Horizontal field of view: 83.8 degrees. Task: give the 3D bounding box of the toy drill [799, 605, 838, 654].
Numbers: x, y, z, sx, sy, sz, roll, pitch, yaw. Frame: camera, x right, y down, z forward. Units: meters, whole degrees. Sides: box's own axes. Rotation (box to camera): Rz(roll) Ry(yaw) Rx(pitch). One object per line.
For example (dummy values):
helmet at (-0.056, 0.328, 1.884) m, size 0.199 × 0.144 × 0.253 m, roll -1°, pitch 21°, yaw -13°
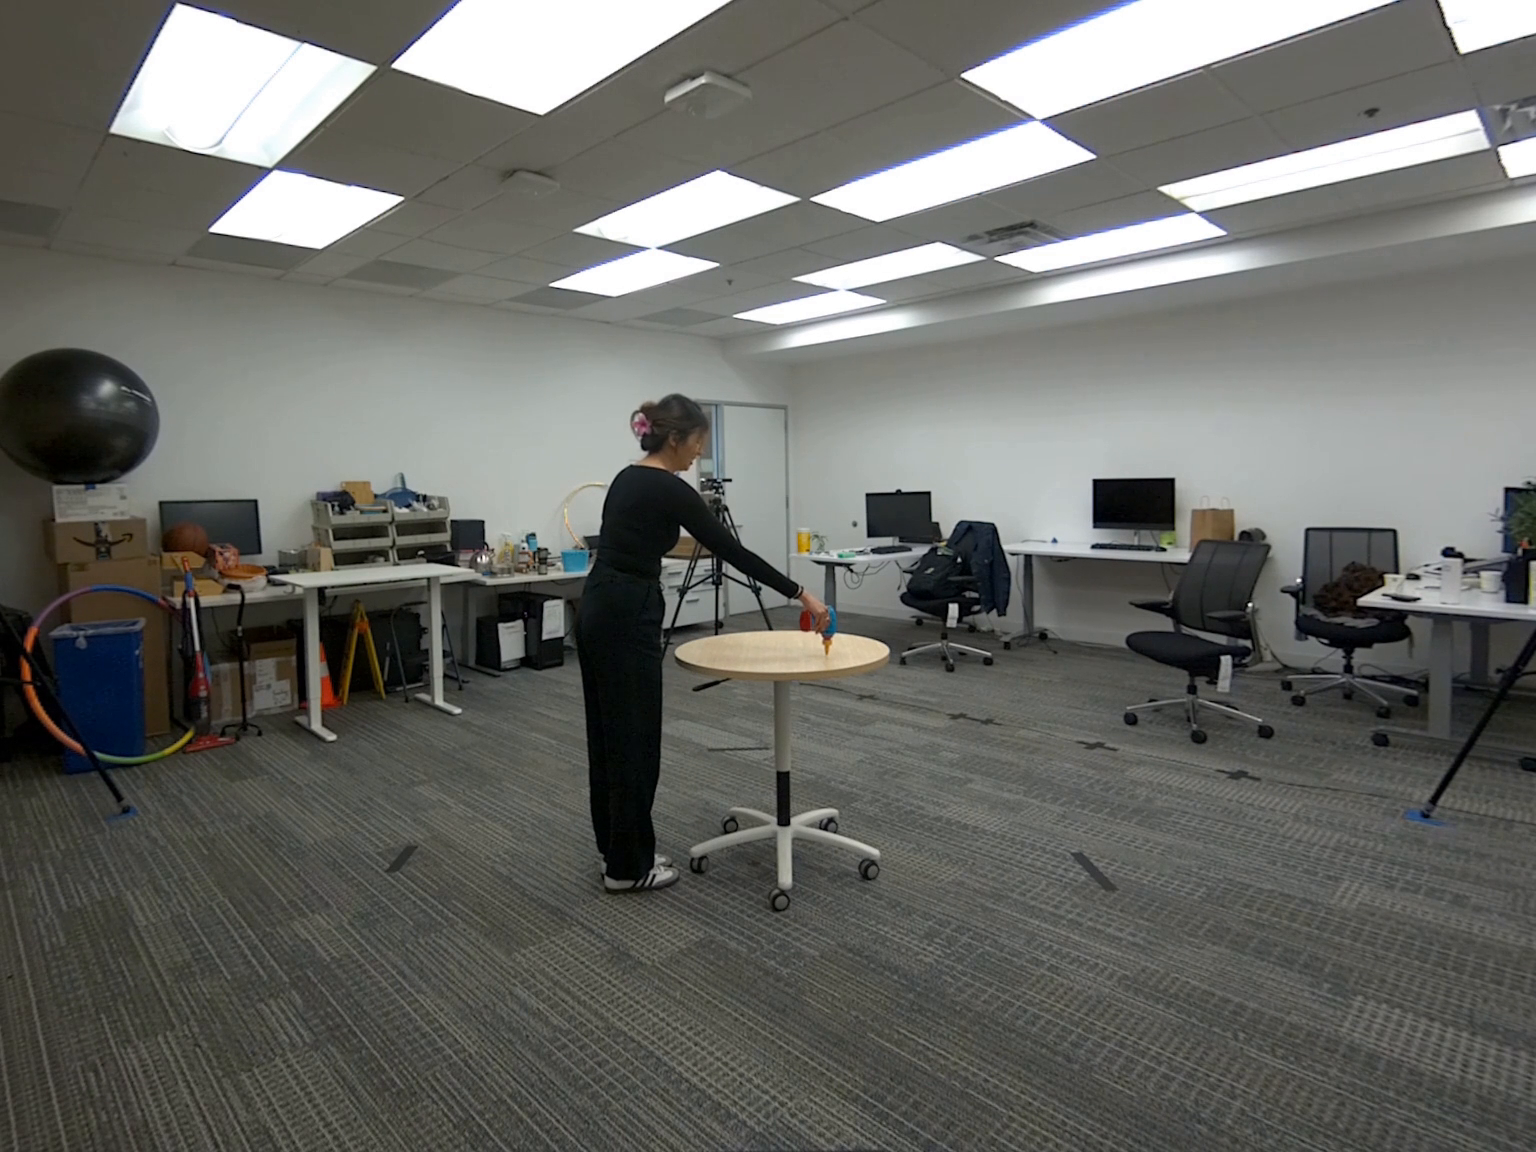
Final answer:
toy drill at (0.174, 0.190, 2.897) m, size 0.142 × 0.169 × 0.063 m, roll -2°, pitch 3°, yaw -41°
